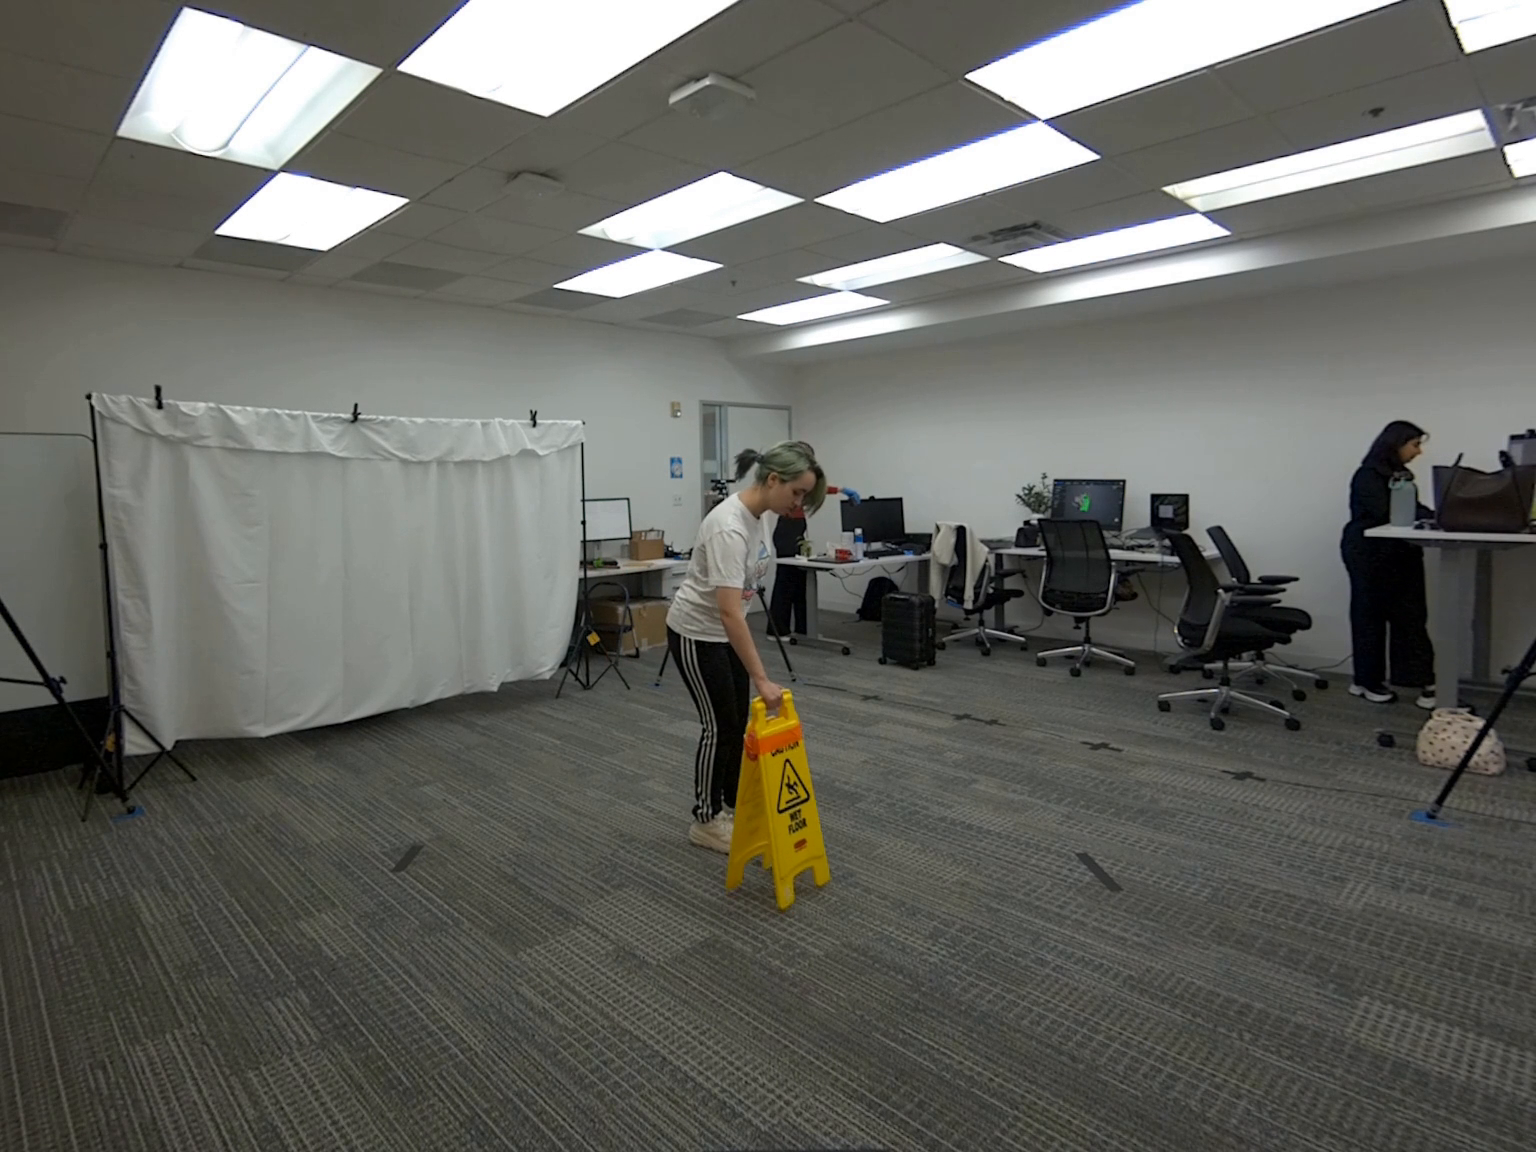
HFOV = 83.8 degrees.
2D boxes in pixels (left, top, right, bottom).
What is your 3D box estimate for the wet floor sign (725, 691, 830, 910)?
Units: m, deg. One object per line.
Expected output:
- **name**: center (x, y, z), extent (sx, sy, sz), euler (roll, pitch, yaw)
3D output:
- **wet floor sign**: center (0.026, 0.716, 2.879), extent (0.298, 0.644, 0.275), euler (2, 5, 41)
